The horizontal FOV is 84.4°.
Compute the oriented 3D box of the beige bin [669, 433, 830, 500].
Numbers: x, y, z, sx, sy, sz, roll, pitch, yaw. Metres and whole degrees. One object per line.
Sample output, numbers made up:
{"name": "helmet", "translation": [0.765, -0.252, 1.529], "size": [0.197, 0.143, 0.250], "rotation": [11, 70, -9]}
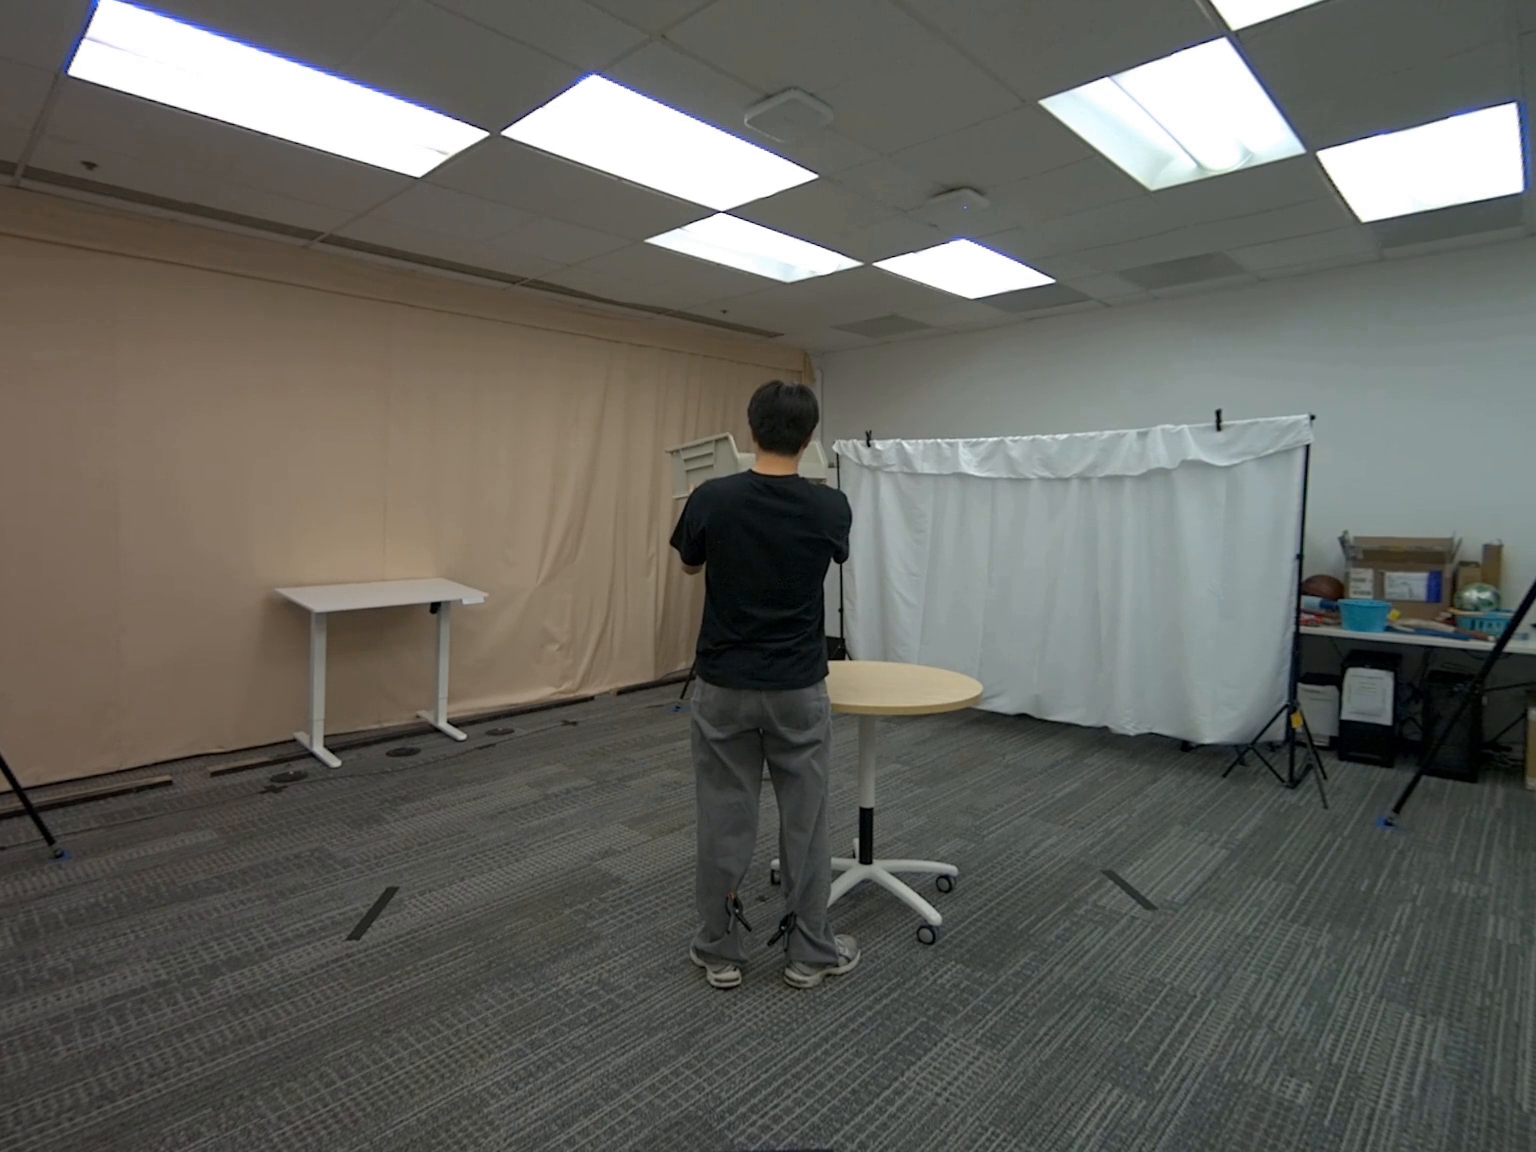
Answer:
{"name": "beige bin", "translation": [-0.068, -0.373, 2.931], "size": [0.409, 0.189, 0.388], "rotation": [-4, -1, -42]}
